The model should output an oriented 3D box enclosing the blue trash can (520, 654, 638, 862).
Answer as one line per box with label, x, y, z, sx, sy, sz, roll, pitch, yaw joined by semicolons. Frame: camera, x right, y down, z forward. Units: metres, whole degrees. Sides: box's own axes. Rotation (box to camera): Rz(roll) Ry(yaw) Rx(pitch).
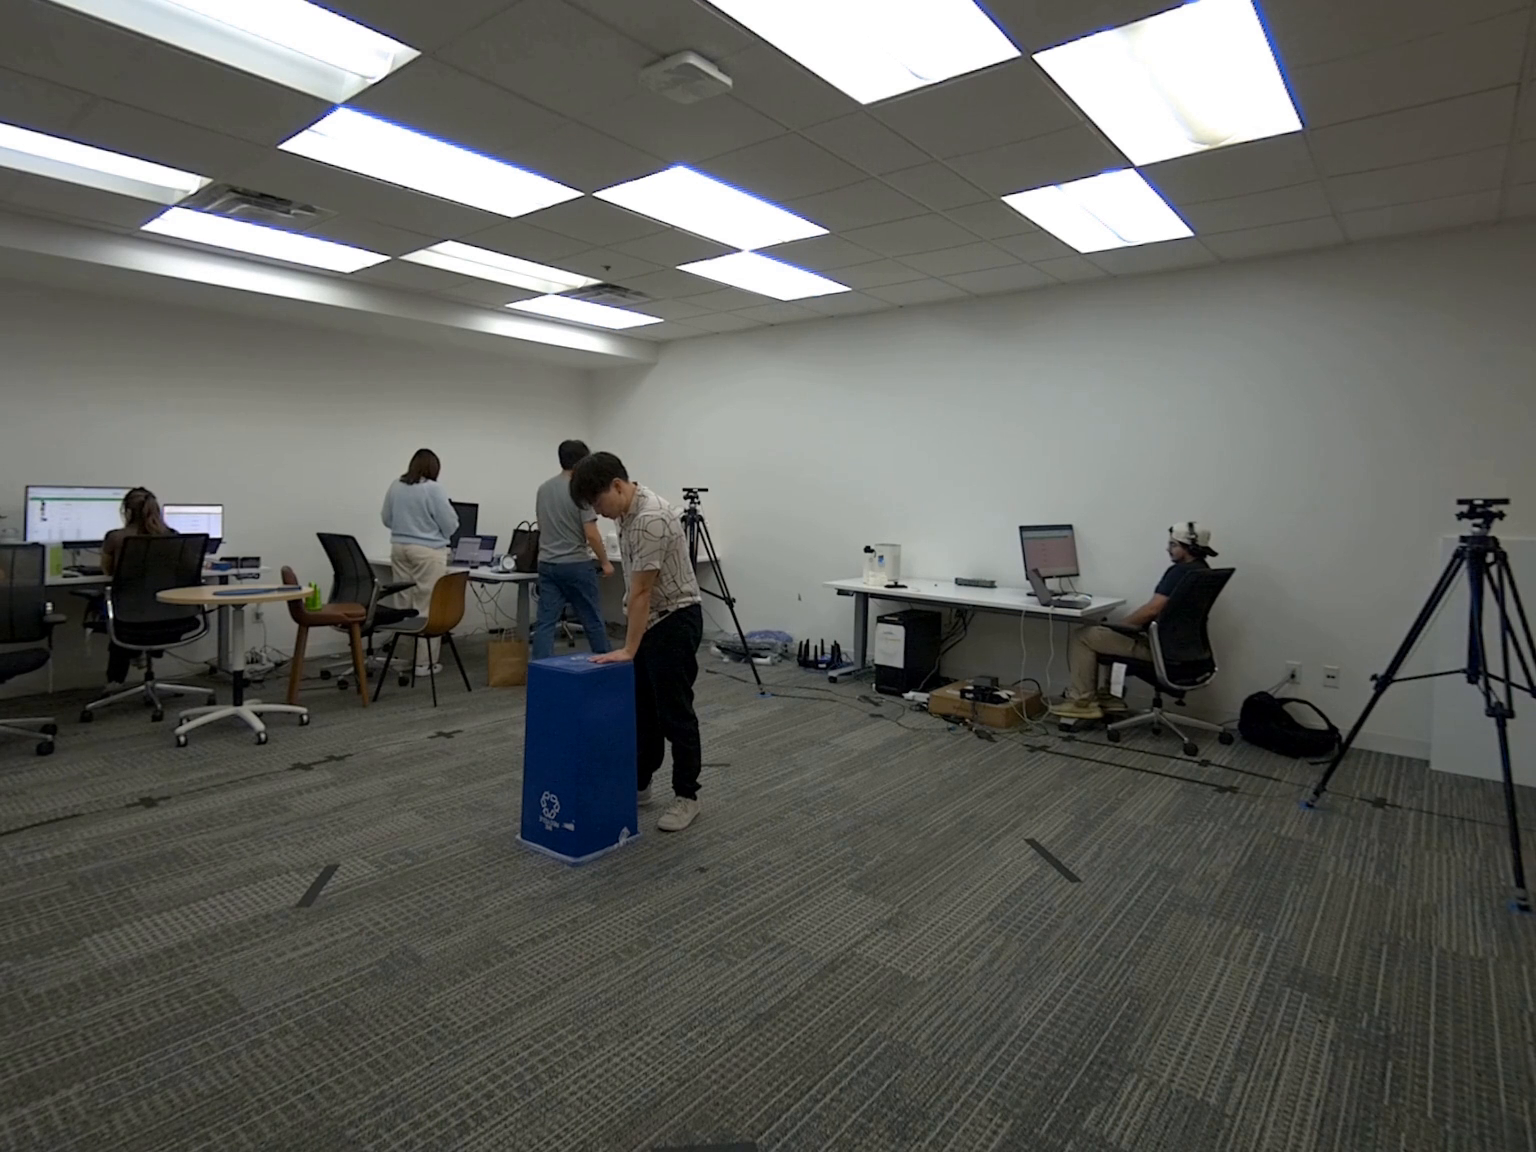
blue trash can;-0.753;0.684;3.351;0.386;0.712;0.367;2;2;37
